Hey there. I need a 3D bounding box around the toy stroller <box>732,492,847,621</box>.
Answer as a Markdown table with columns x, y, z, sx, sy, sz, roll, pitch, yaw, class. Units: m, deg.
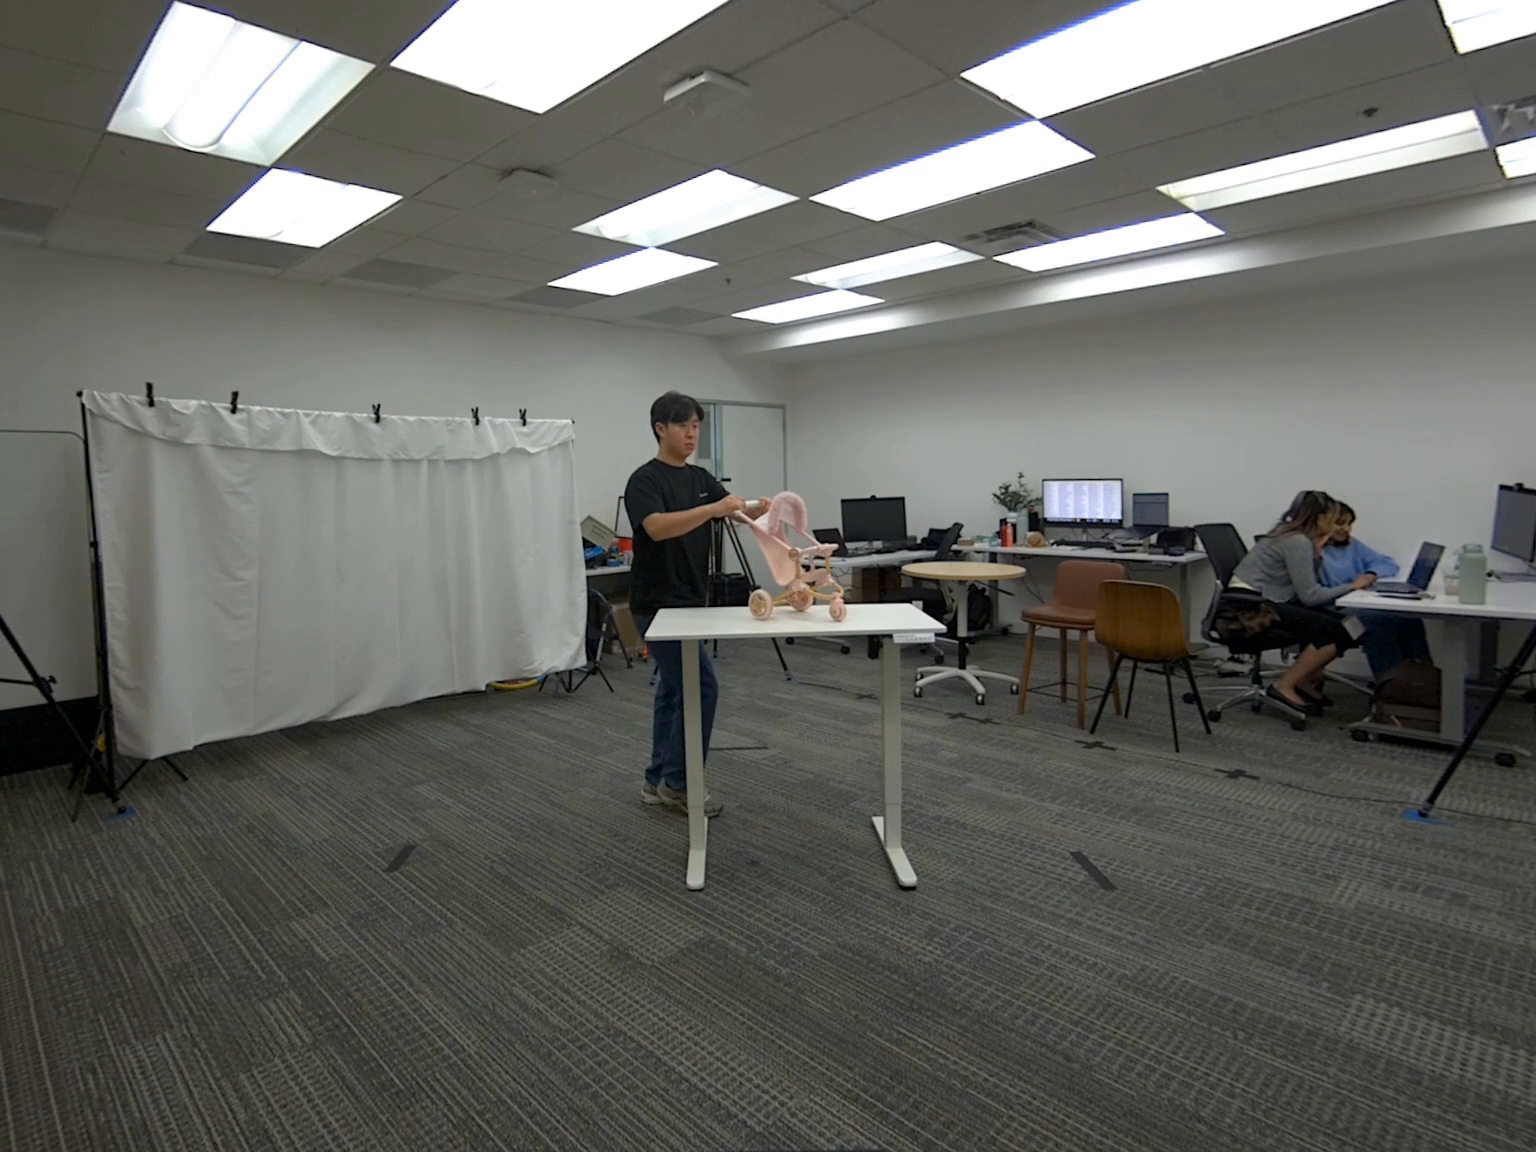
| x | y | z | sx | sy | sz | roll | pitch | yaw | class |
| --- | --- | --- | --- | --- | --- | --- | --- | --- | --- |
| 0.097 | -0.070 | 3.140 | 0.274 | 0.540 | 0.347 | -6 | -11 | -45 | toy stroller |
